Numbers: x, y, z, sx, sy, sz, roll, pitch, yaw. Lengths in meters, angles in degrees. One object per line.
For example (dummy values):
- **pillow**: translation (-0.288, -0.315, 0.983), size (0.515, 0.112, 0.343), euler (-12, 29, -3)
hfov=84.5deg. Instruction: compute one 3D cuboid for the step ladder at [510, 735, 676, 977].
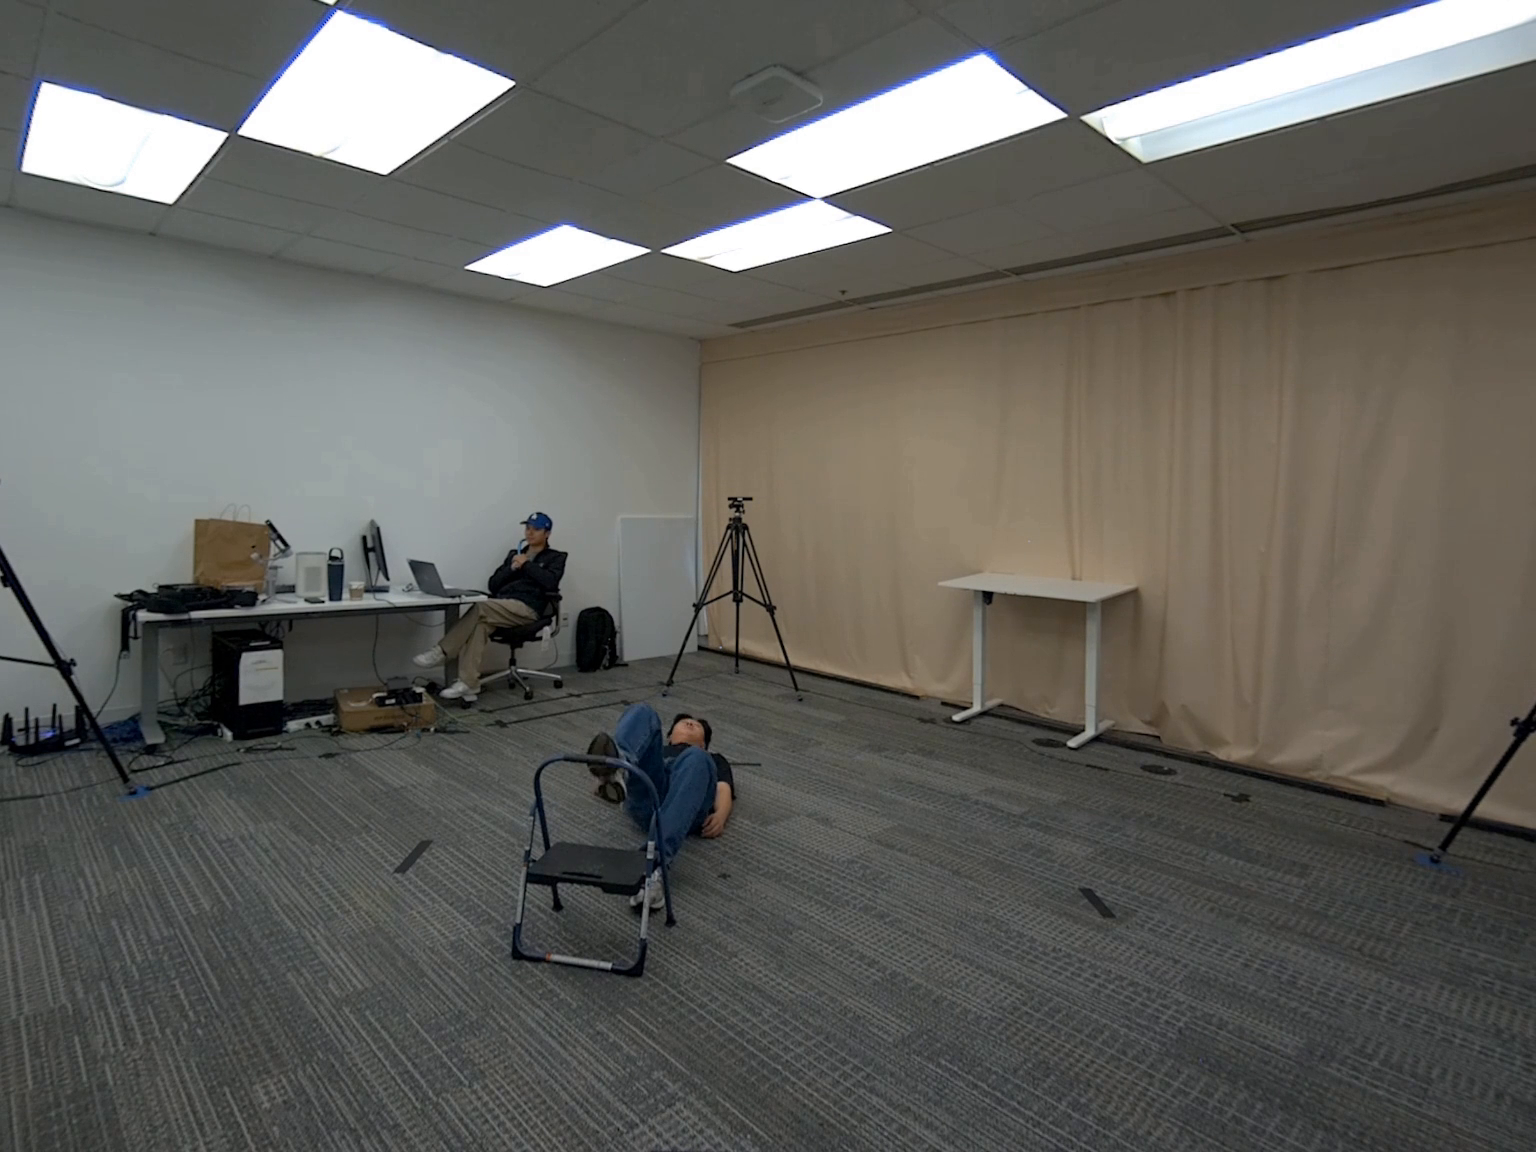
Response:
- **step ladder**: translation (-0.538, 0.841, 2.622), size (0.434, 0.605, 0.347), euler (2, 2, 10)
